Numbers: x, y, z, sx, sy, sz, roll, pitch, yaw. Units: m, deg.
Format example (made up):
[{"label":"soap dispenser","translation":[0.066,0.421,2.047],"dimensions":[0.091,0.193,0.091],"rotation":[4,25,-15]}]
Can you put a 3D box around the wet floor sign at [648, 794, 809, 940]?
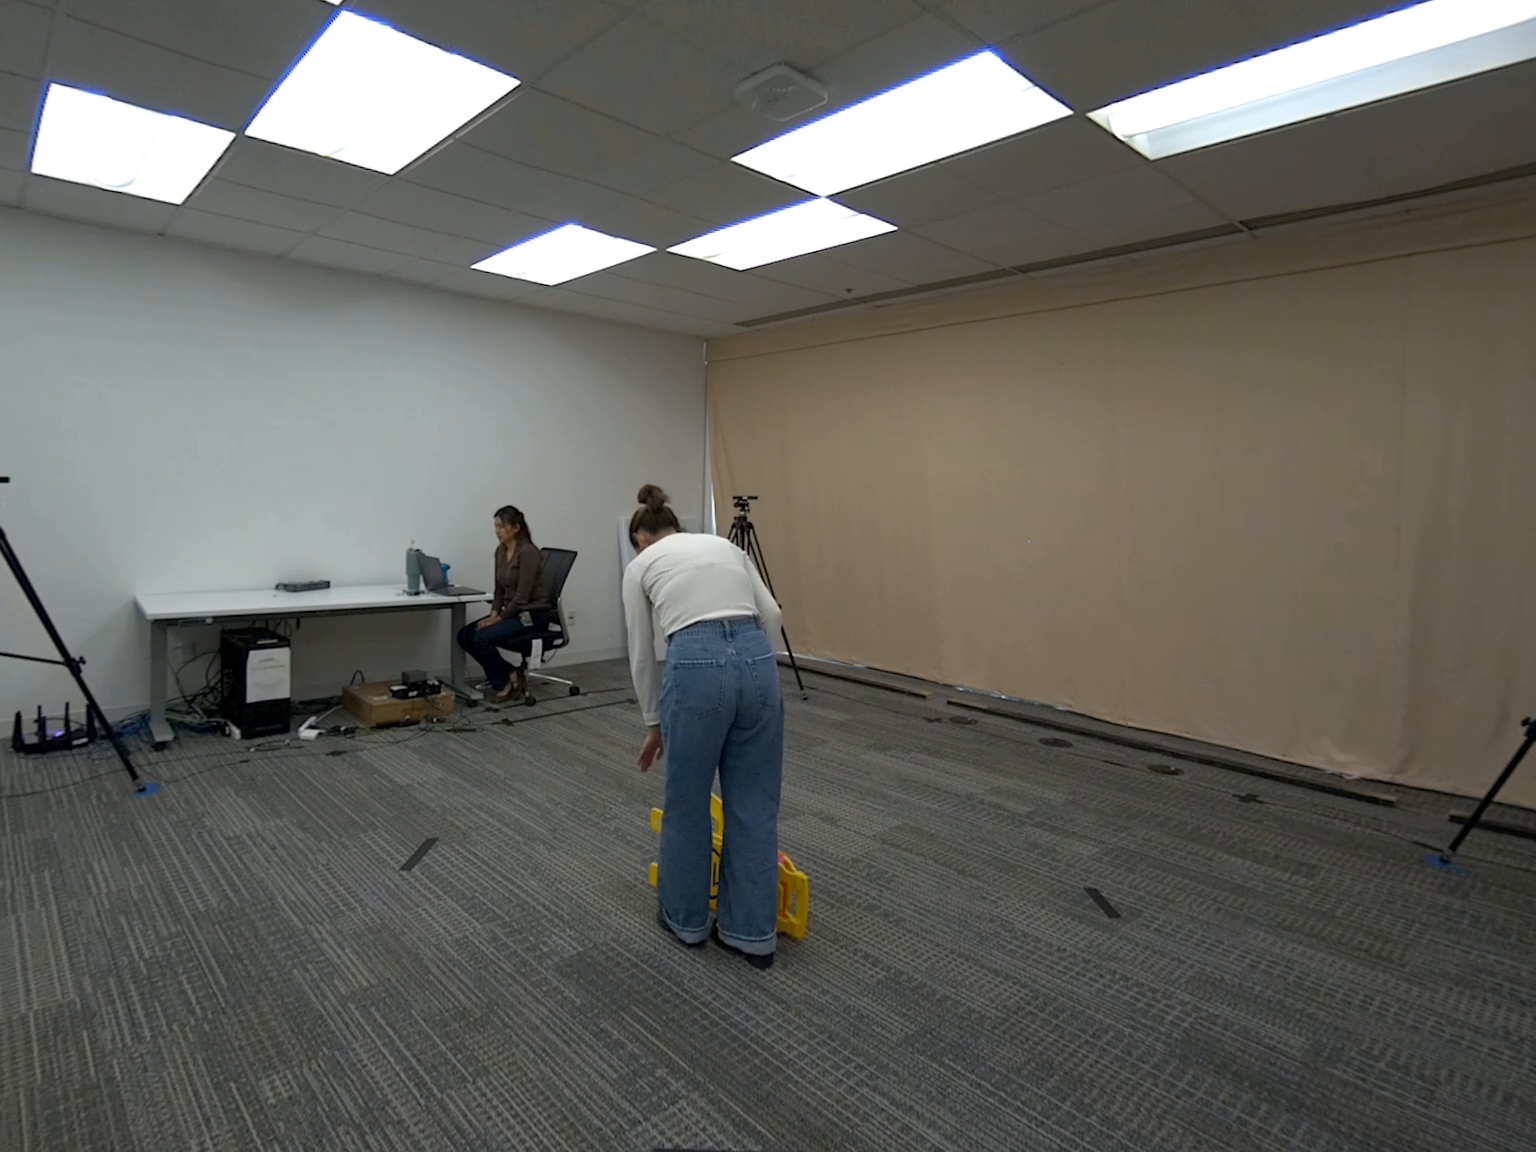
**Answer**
[{"label":"wet floor sign","translation":[-0.109,0.999,2.853],"dimensions":[0.283,0.281,0.663],"rotation":[-3,8,-42]}]
